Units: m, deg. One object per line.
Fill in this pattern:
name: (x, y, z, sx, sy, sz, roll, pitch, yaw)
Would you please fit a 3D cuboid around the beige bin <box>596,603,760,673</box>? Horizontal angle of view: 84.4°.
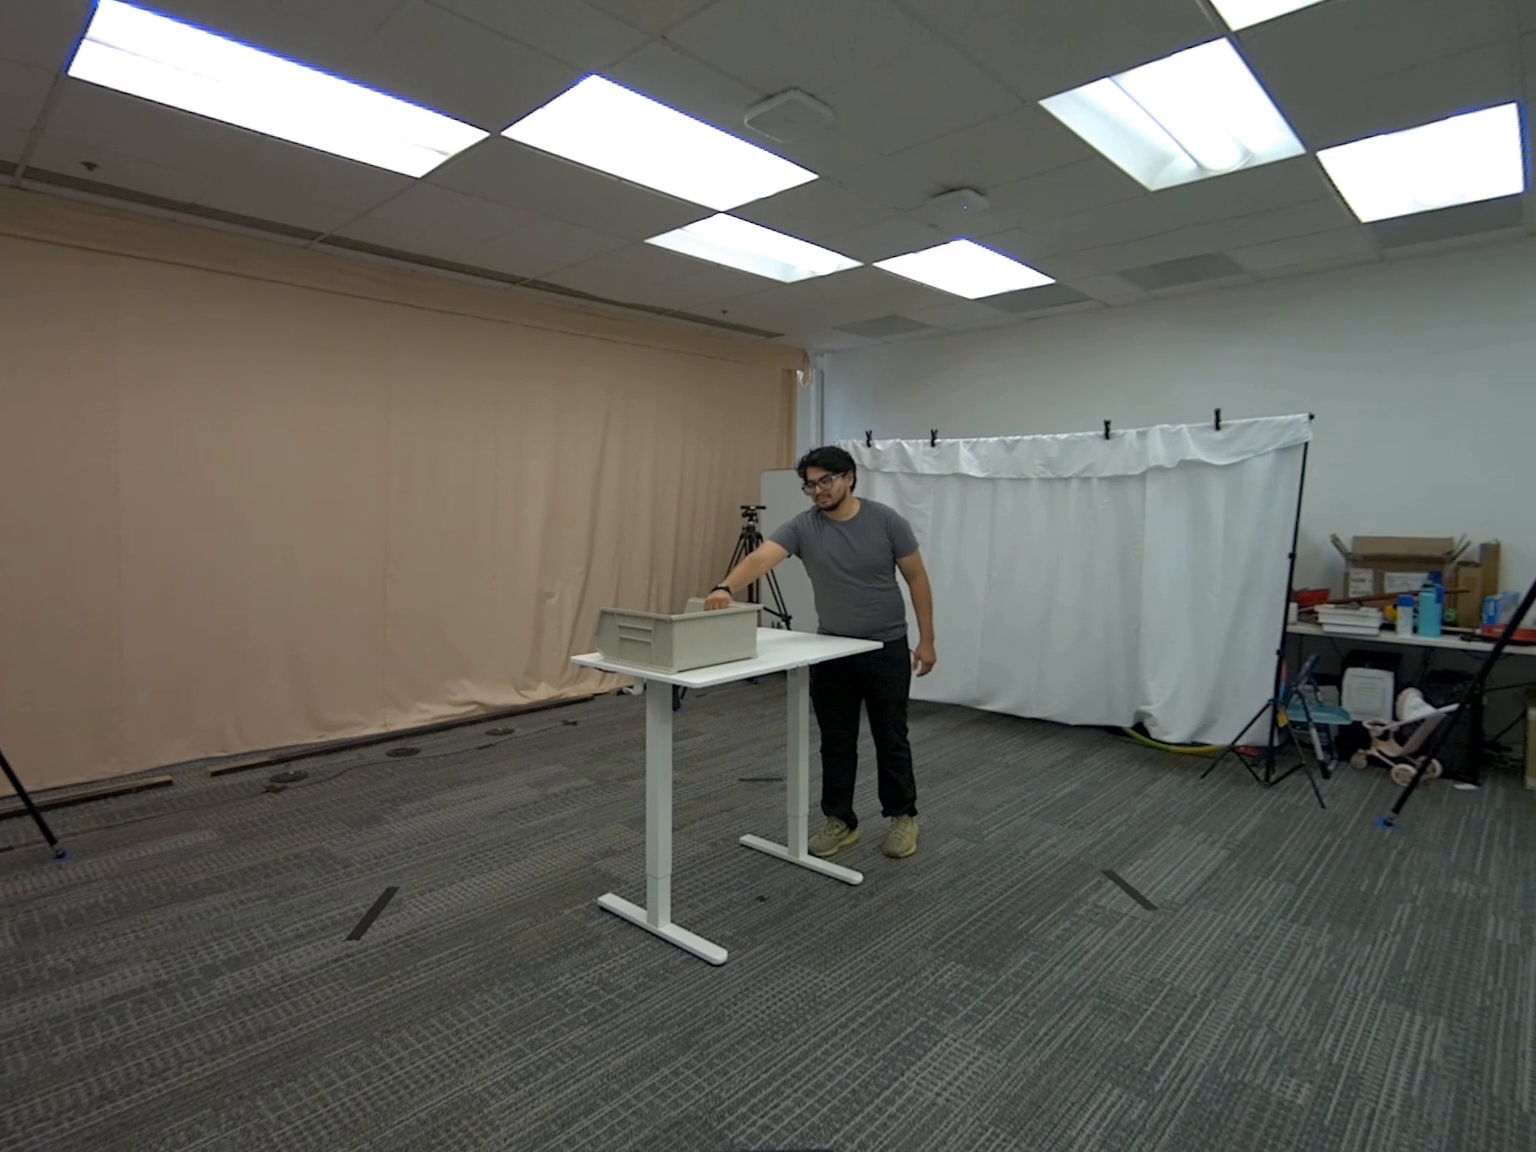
beige bin: (-0.297, 0.189, 2.784, 0.390, 0.188, 0.409, 5, 7, 42)
